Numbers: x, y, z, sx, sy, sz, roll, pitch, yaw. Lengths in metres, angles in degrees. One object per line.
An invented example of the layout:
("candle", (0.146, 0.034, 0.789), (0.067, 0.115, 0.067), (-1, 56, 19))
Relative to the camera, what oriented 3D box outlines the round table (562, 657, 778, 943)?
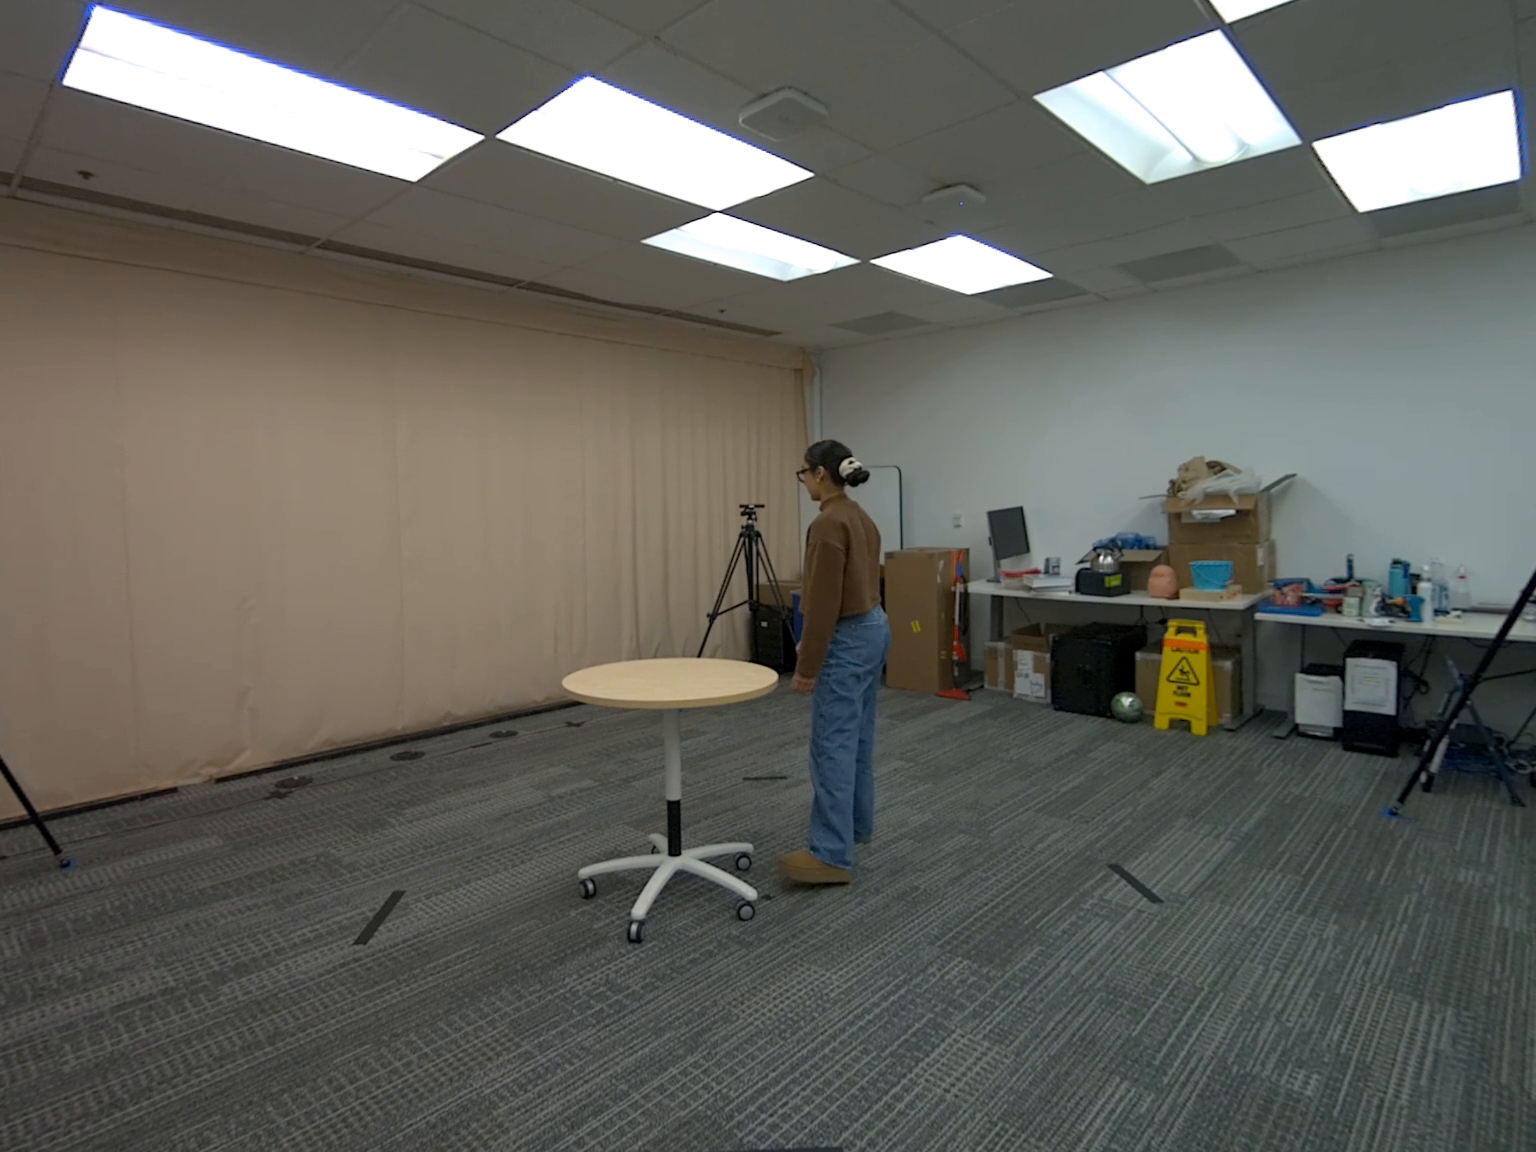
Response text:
("round table", (-0.341, 0.754, 3.018), (0.763, 0.792, 0.766), (-1, 4, -2))
